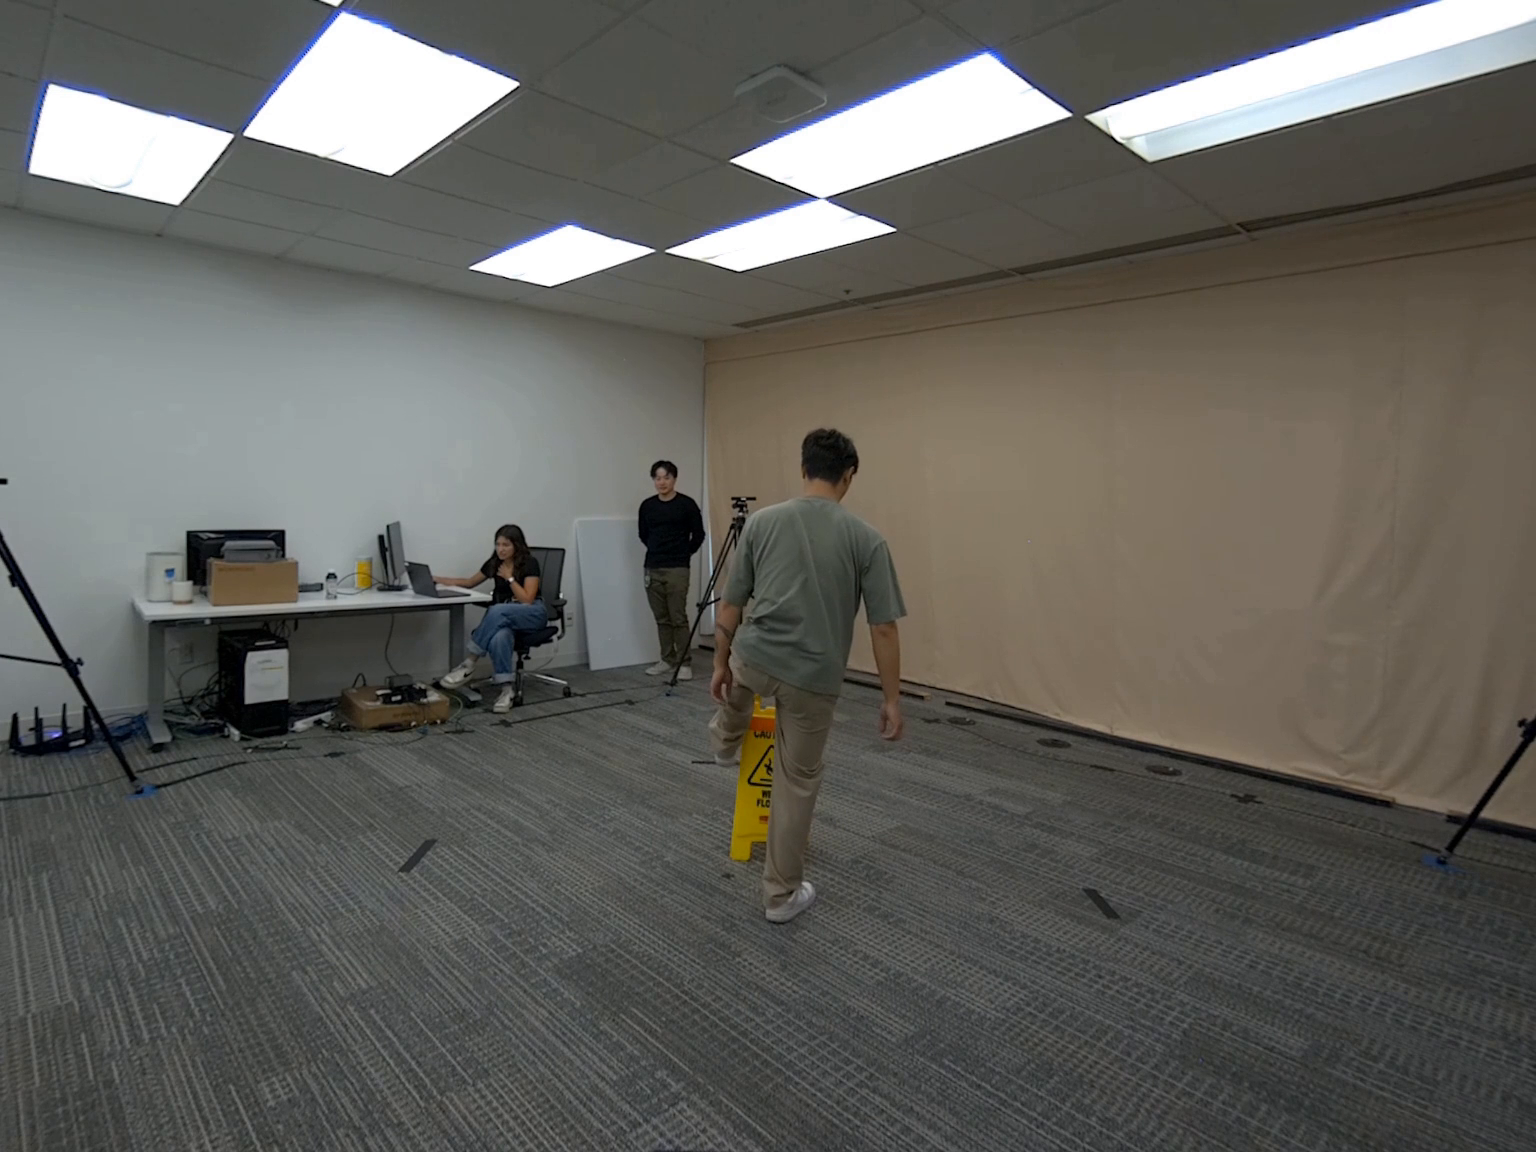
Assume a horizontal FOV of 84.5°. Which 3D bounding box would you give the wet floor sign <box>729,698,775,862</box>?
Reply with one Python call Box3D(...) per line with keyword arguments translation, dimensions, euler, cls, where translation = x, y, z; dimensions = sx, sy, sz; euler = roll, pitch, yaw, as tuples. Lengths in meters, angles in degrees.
Box3D(translation=(0.007, 0.768, 3.334), dimensions=(0.285, 0.645, 0.288), euler=(3, 3, 9), cls="wet floor sign")
